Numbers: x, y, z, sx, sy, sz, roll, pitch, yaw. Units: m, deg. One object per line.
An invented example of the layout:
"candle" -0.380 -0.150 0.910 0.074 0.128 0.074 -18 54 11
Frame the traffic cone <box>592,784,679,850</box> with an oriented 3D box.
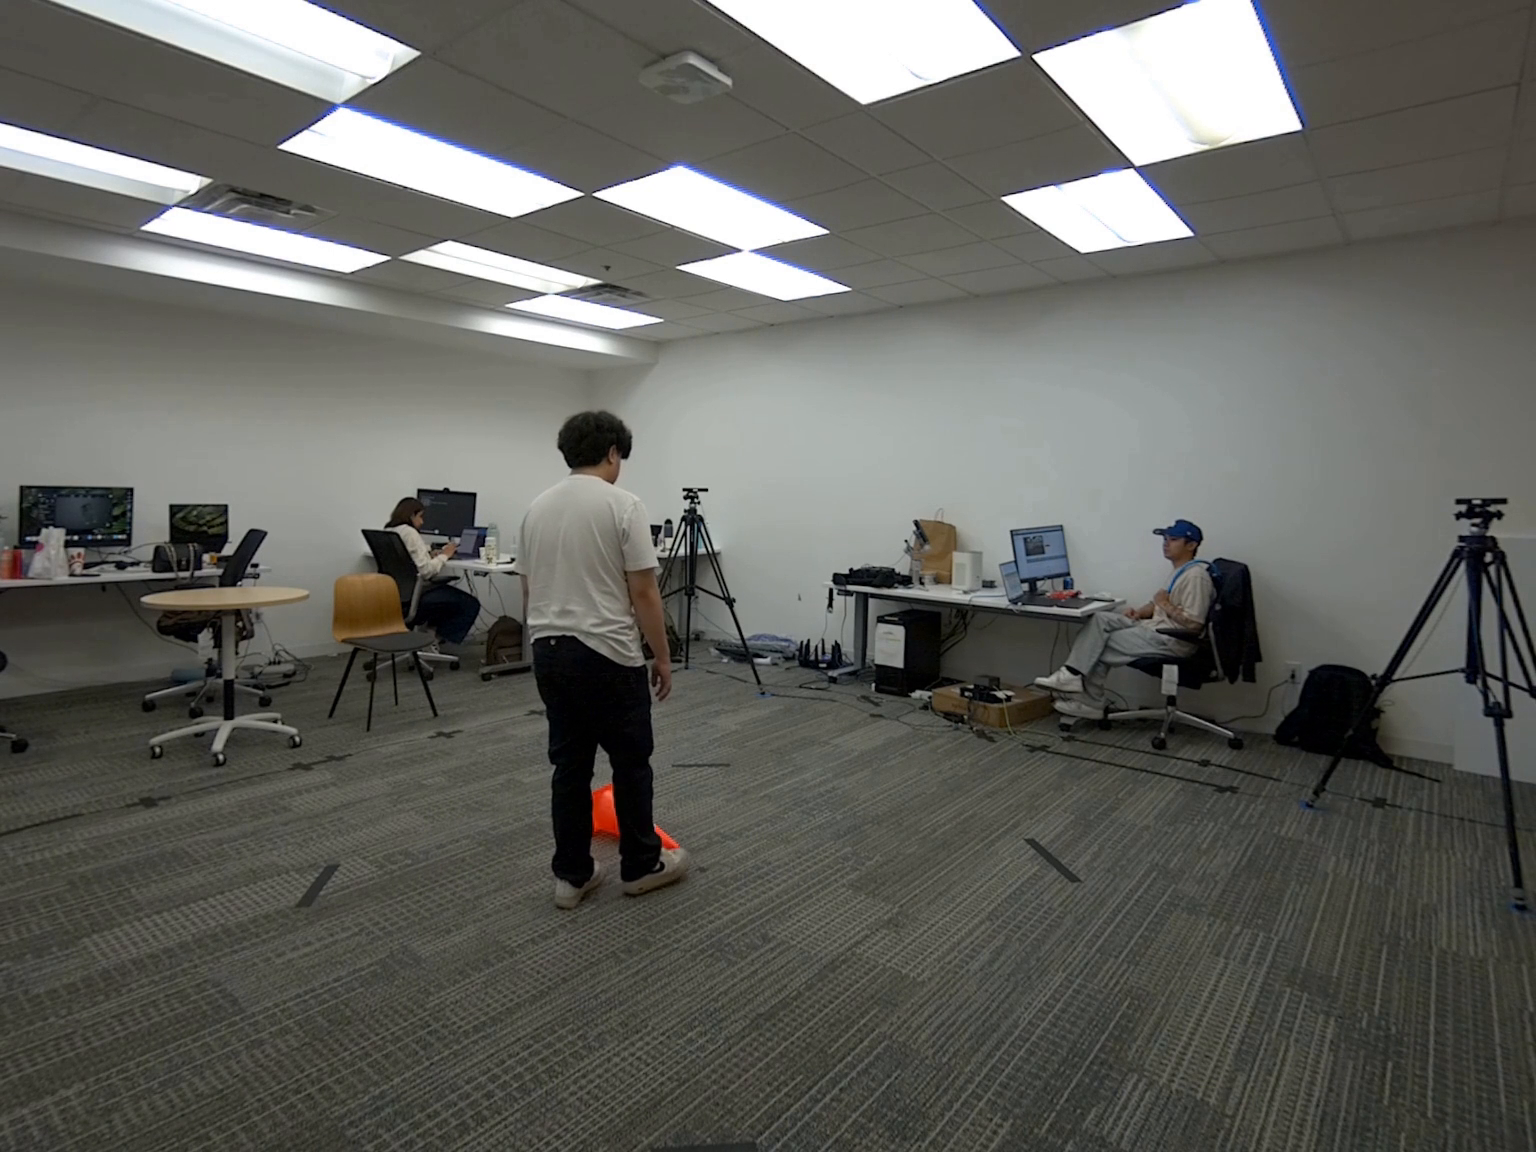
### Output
"traffic cone" -0.513 0.988 3.343 0.396 0.202 0.200 18 13 28
